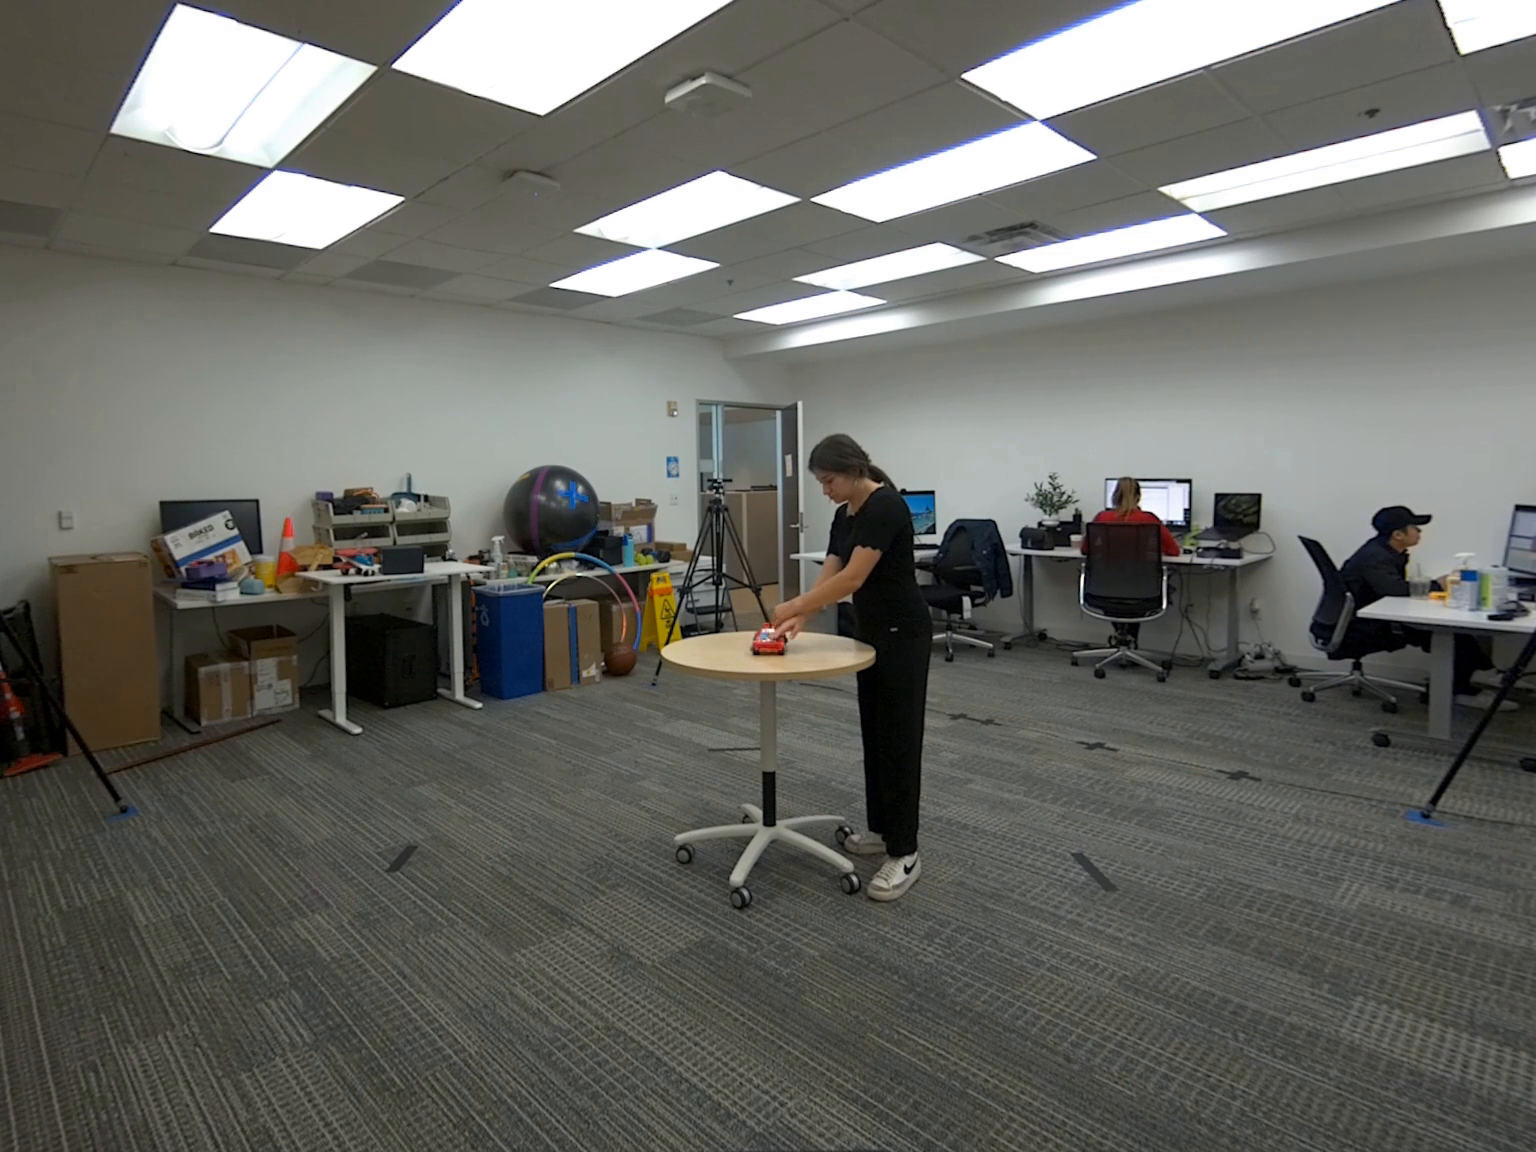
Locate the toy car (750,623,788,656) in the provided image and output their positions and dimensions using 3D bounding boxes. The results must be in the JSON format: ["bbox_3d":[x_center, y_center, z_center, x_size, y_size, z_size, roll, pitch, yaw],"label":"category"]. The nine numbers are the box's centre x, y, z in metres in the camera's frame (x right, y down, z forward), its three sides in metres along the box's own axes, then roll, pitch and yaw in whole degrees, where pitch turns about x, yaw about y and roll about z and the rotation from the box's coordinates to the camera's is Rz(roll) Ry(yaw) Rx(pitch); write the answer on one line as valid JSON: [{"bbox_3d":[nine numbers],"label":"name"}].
[{"bbox_3d":[0.010,0.232,3.069,0.131,0.082,0.257,0,16,3],"label":"toy car"}]
